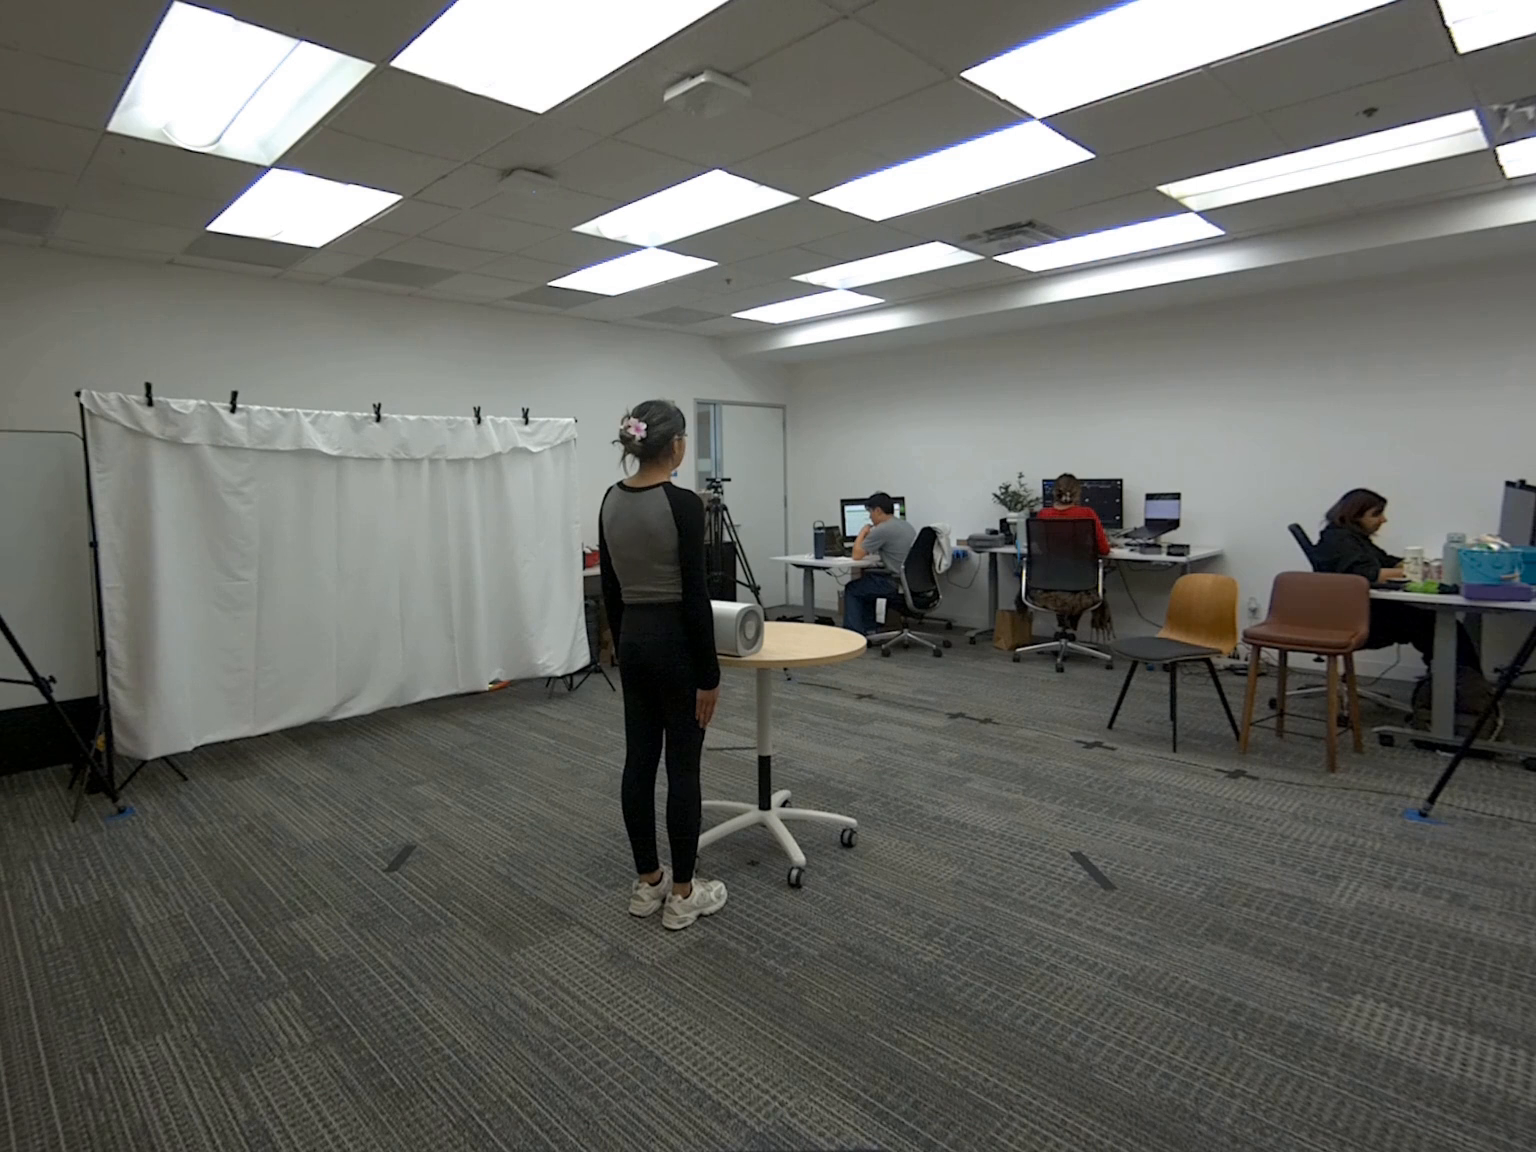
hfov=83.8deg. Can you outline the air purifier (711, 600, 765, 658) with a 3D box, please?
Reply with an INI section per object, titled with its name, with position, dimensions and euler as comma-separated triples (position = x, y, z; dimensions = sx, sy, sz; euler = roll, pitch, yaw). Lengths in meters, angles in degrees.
[air purifier]
position = -0.168, 0.175, 2.981
dimensions = 0.273, 0.171, 0.167
euler = 3, 7, 34
